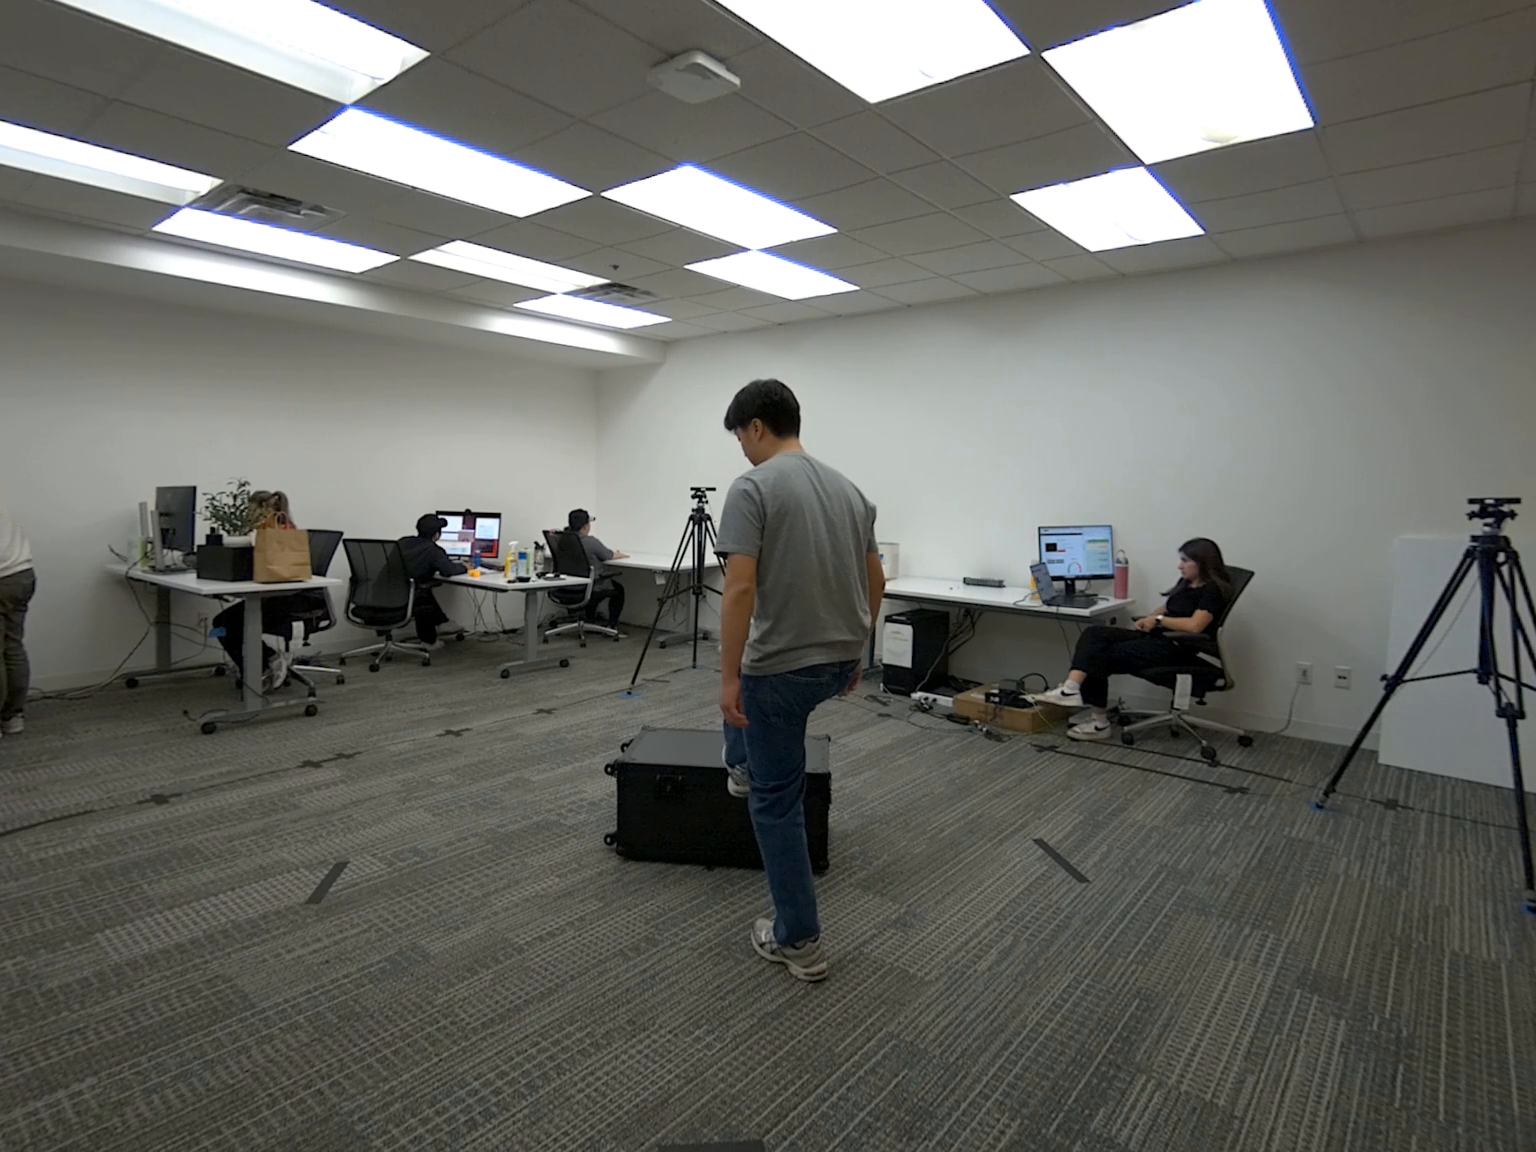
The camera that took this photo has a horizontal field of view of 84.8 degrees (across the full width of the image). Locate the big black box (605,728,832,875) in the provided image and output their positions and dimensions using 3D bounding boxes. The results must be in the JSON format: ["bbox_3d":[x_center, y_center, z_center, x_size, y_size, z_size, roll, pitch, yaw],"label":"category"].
[{"bbox_3d":[-0.200,0.852,3.338,0.868,0.395,0.520,2,5,6],"label":"big black box"}]
